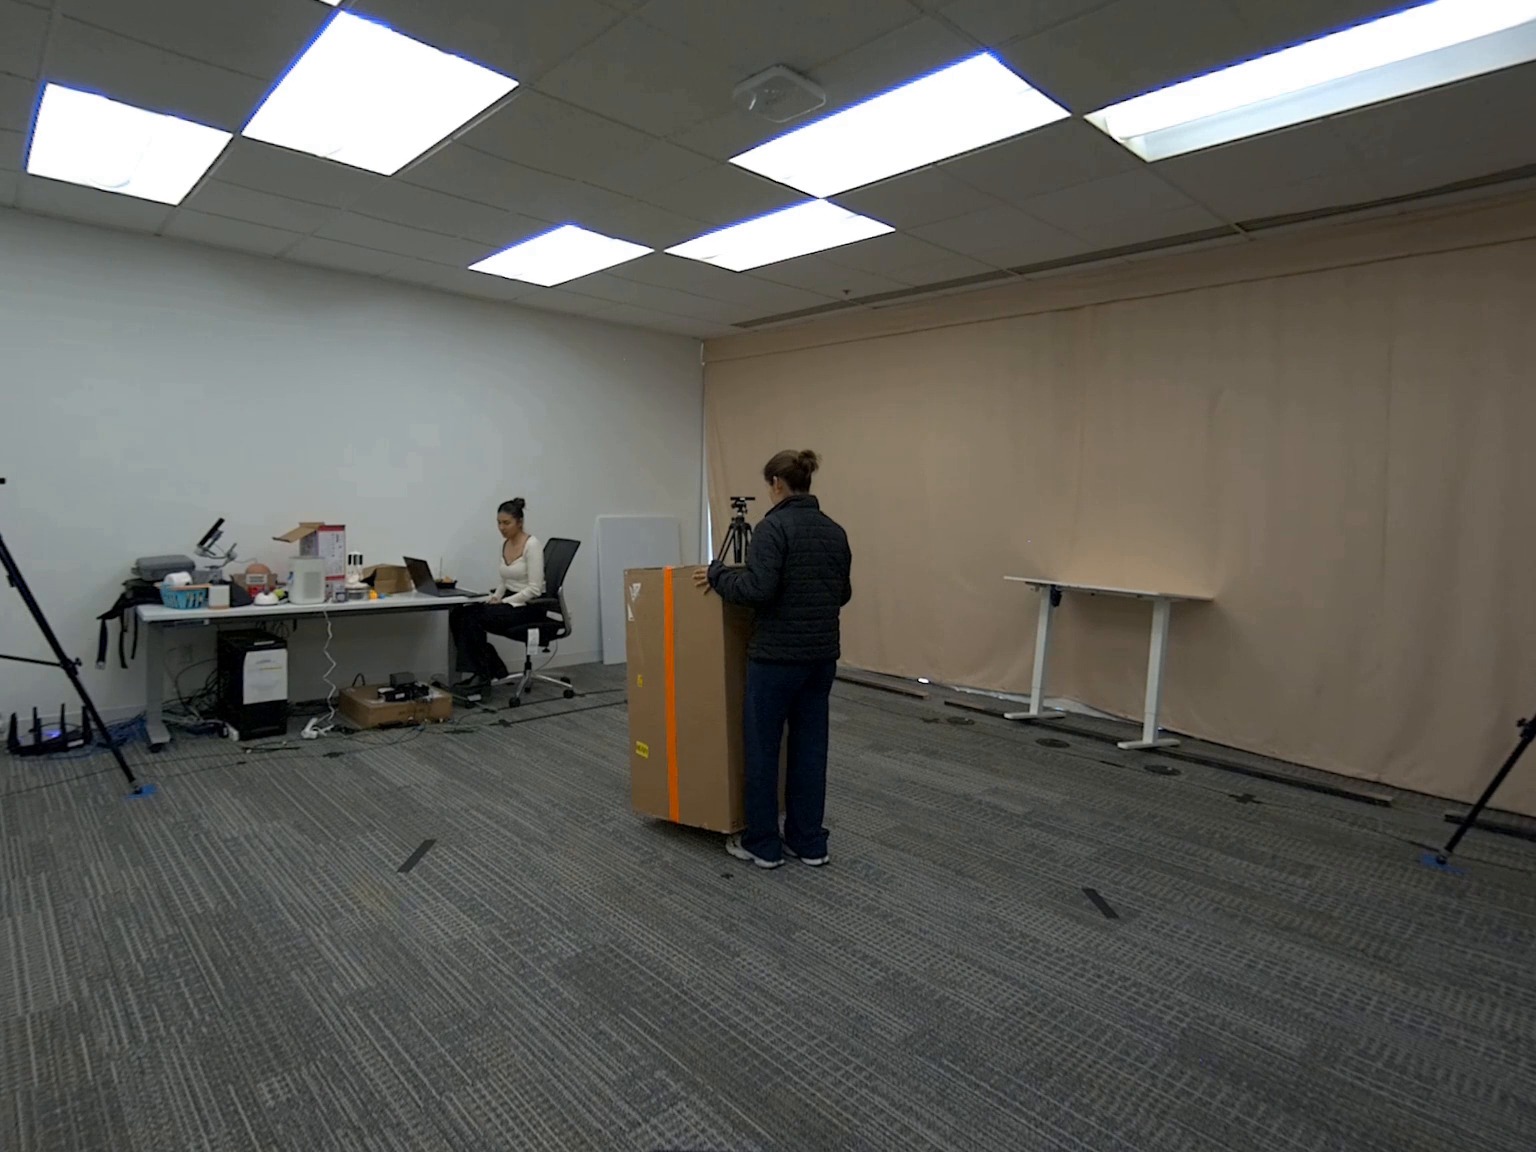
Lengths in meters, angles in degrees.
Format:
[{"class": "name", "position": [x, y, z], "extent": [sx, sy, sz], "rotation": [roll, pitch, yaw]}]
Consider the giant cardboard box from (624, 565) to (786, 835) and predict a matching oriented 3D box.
[{"class": "giant cardboard box", "position": [-0.260, 0.476, 3.530], "extent": [0.590, 1.028, 0.416], "rotation": [-4, -3, 42]}]
